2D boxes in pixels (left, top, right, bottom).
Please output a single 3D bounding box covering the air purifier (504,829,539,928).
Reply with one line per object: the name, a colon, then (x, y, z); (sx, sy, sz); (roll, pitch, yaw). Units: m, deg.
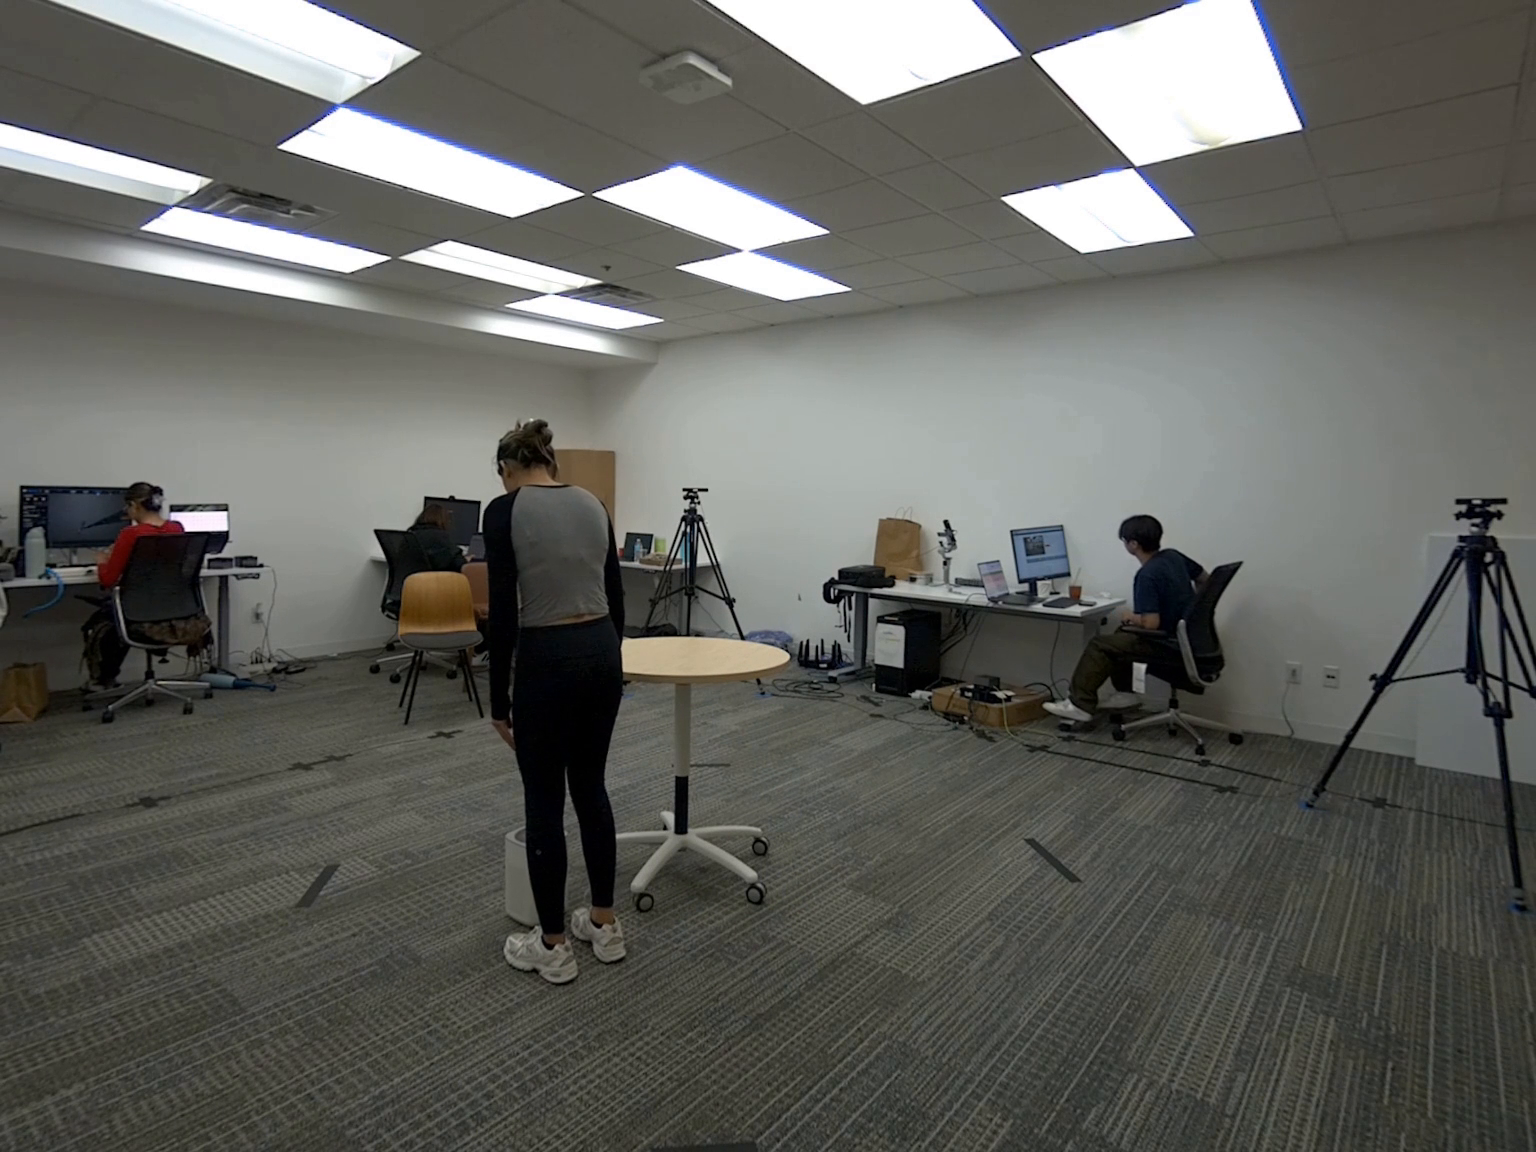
air purifier: (-0.764, 0.968, 2.751); (0.177, 0.265, 0.166); (3, 4, 35)
